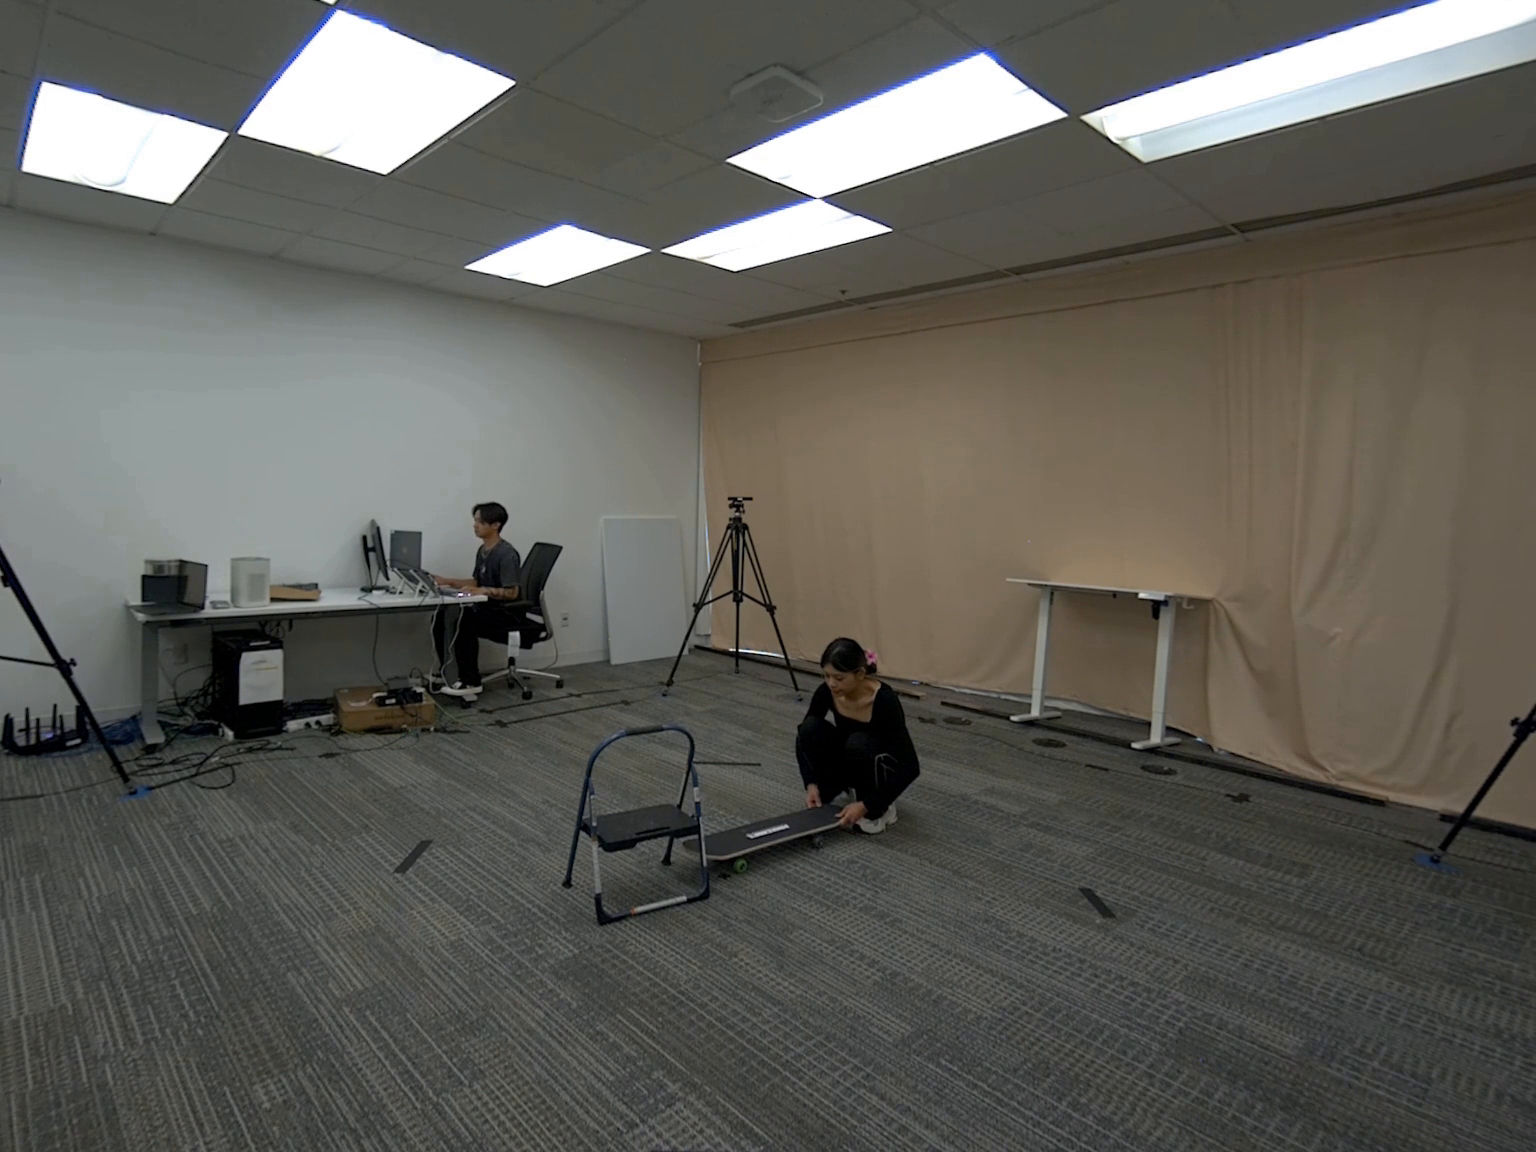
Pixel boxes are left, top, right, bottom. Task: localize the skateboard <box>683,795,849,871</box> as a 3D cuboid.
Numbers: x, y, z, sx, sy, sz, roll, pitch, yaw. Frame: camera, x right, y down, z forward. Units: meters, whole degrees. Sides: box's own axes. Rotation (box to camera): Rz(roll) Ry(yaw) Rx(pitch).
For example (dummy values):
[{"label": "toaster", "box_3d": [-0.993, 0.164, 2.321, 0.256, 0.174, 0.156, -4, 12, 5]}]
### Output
[{"label": "skateboard", "box_3d": [-0.006, 1.036, 3.311, 0.768, 0.110, 0.198, -2, 6, -38]}]
